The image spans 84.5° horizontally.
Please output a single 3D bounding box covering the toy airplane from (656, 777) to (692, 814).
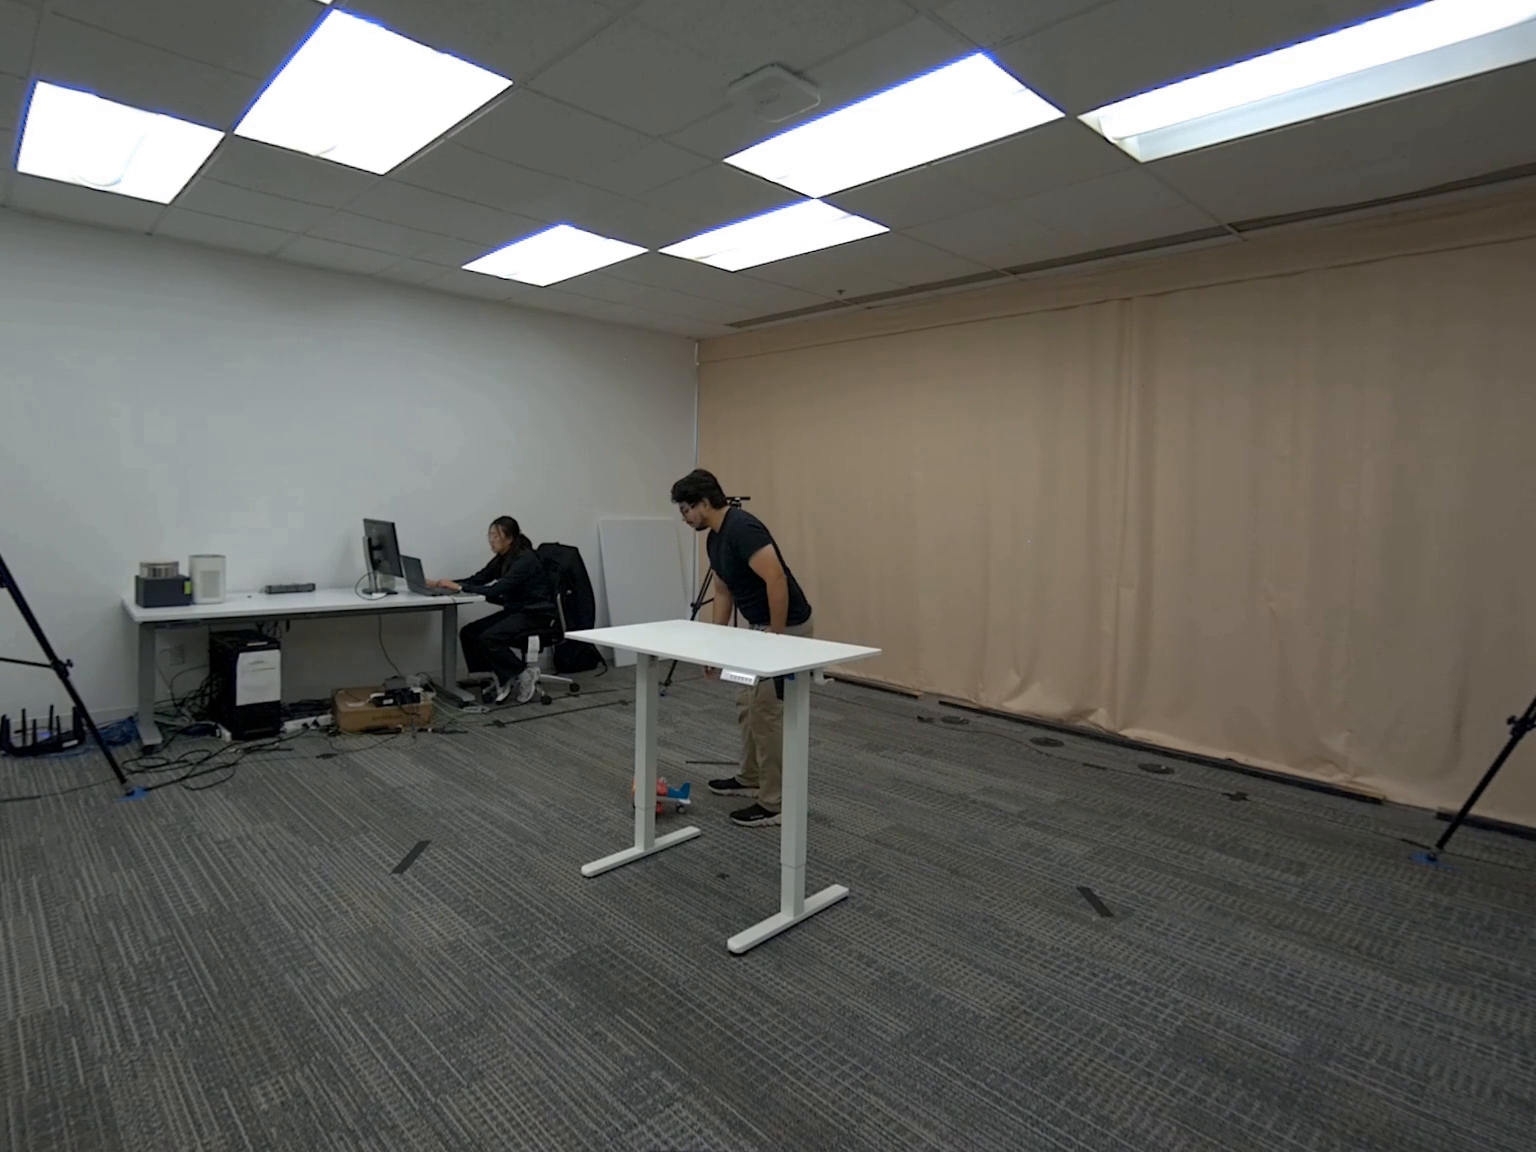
[{"bbox_3d":[-0.476,0.968,3.723,0.253,0.156,0.257,-5,6,-42],"label":"toy airplane"}]
